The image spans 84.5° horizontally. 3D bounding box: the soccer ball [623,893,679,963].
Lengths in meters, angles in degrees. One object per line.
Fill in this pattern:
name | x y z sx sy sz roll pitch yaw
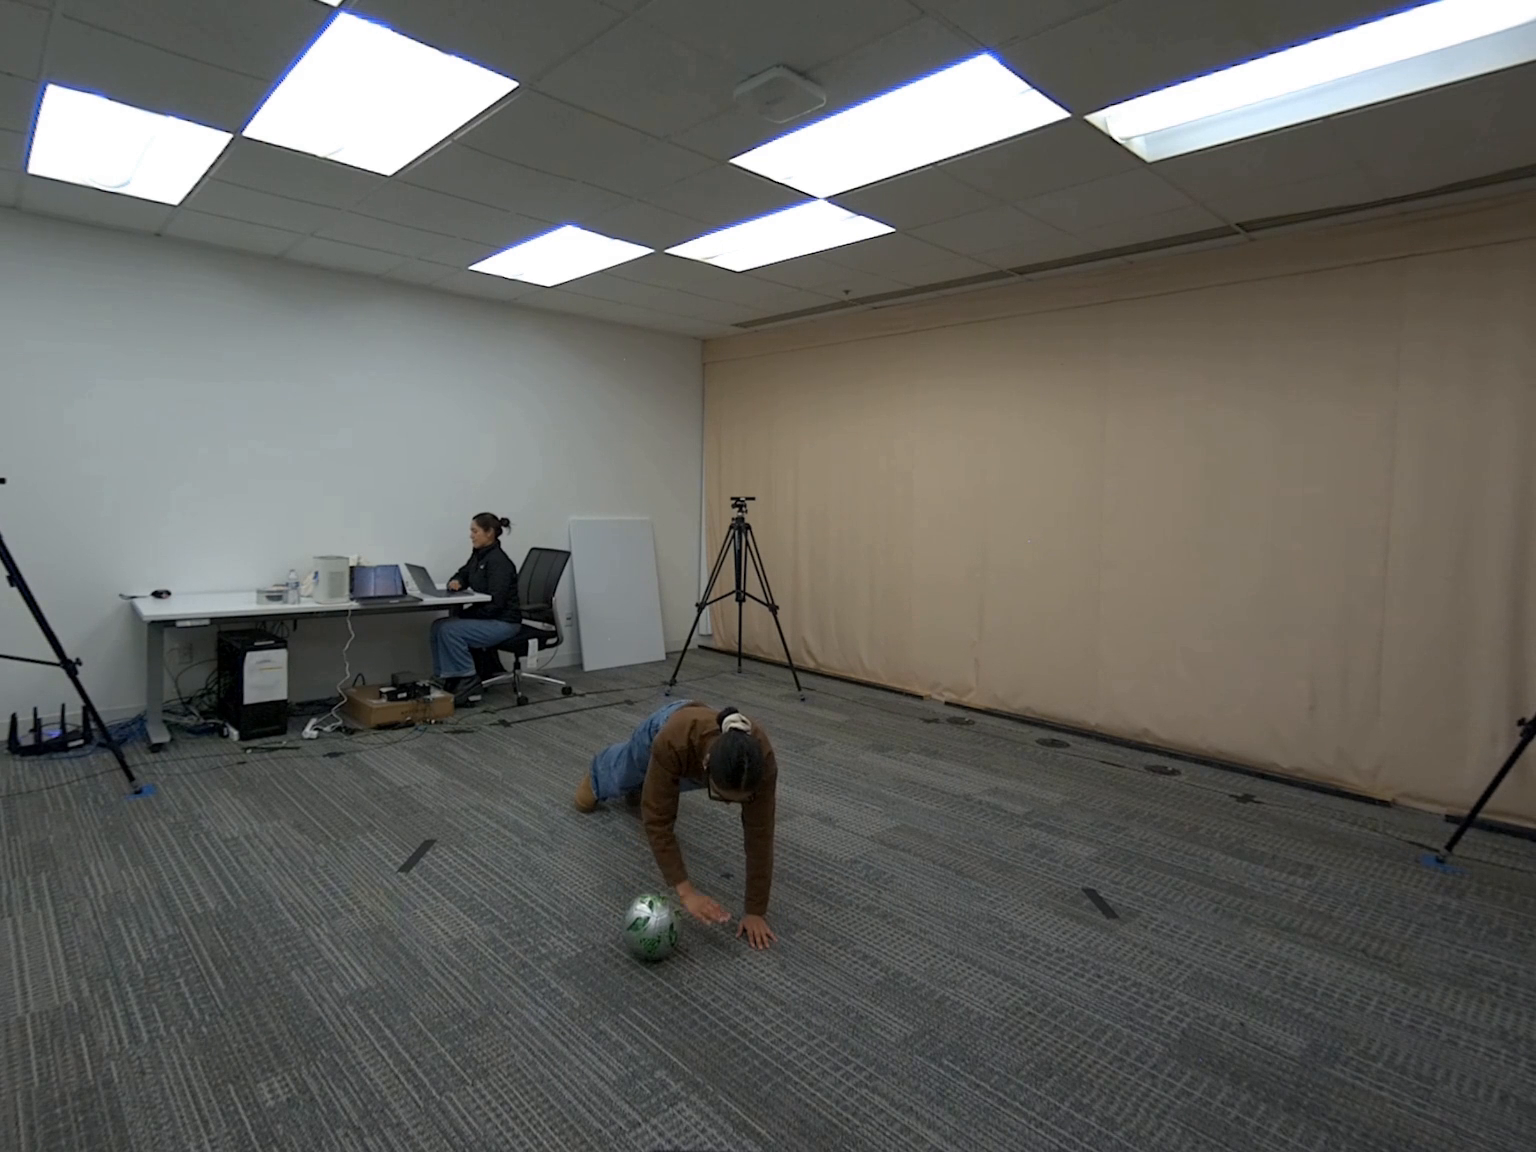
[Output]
soccer ball | -0.367 1.060 2.544 0.187 0.187 0.188 1 4 -1
